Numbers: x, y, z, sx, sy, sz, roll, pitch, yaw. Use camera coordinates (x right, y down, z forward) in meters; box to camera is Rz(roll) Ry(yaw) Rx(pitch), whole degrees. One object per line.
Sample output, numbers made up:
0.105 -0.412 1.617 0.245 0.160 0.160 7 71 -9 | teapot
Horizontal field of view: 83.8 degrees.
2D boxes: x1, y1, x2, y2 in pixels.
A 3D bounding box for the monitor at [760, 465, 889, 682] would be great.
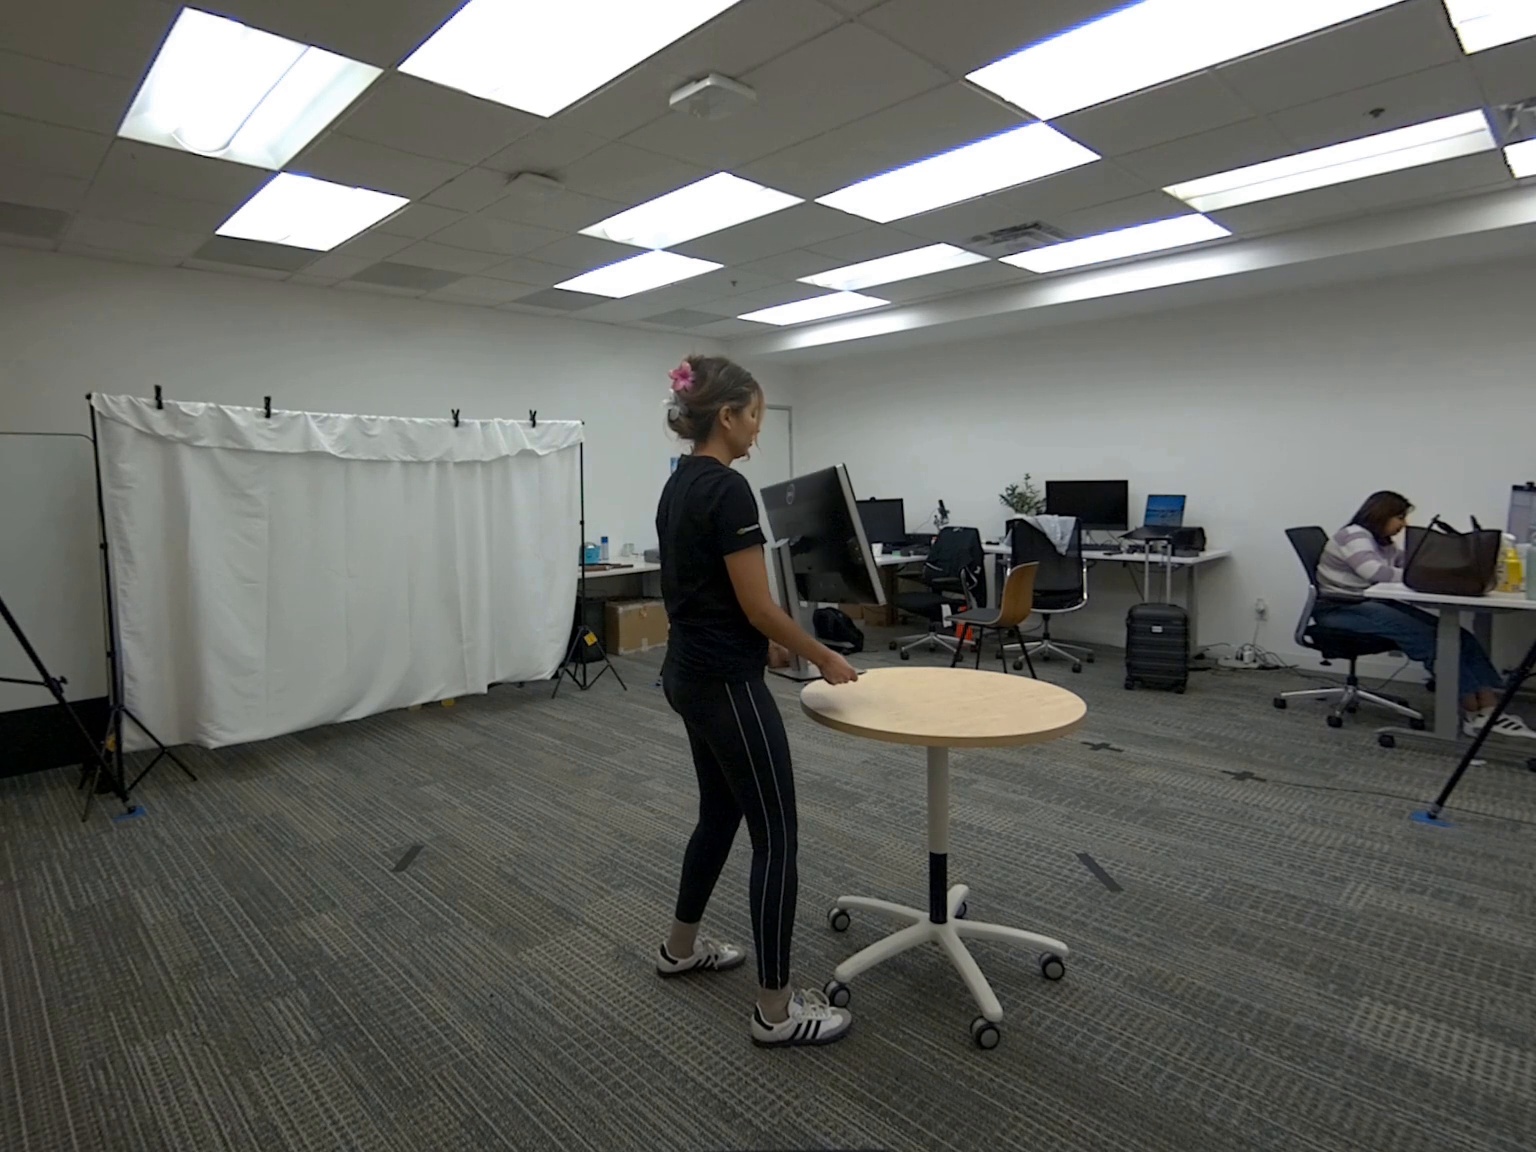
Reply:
0.113 -0.004 2.342 0.184 0.523 0.548 -6 0 -21 | monitor
